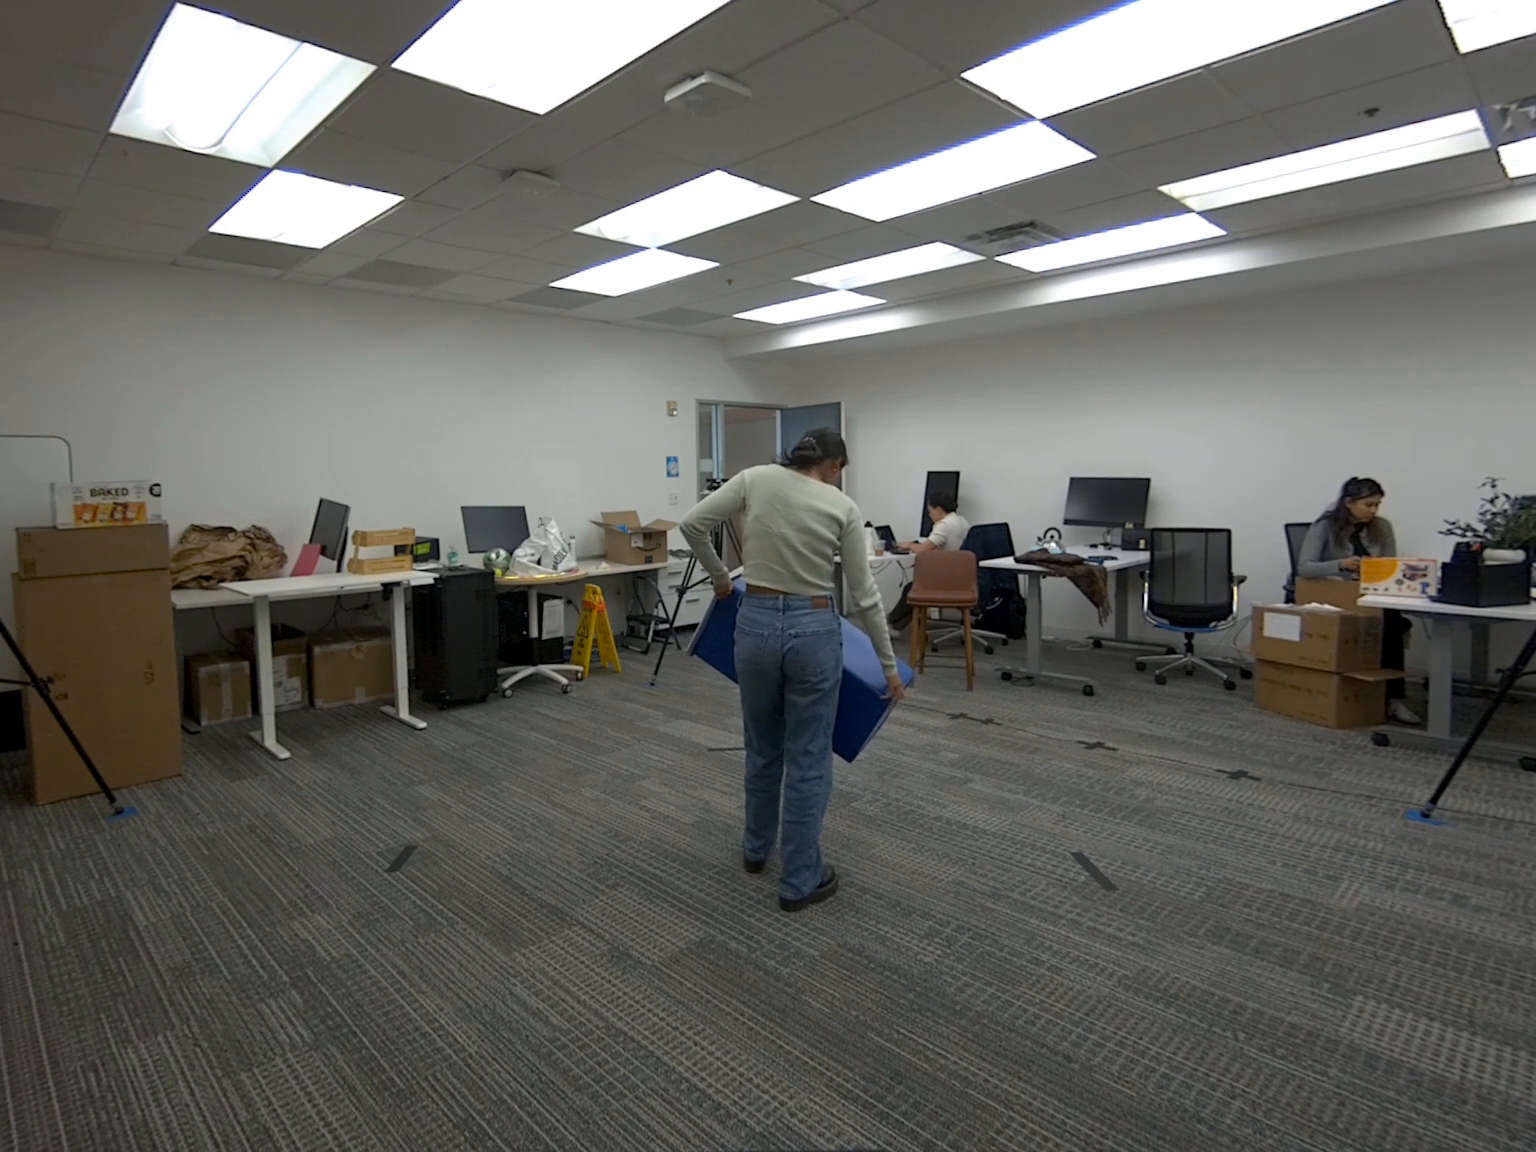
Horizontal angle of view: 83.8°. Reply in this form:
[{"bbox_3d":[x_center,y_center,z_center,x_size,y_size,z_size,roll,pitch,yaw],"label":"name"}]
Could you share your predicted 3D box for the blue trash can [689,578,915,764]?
[{"bbox_3d":[0.119,0.297,3.129,0.730,0.375,0.369,35,26,17],"label":"blue trash can"}]
